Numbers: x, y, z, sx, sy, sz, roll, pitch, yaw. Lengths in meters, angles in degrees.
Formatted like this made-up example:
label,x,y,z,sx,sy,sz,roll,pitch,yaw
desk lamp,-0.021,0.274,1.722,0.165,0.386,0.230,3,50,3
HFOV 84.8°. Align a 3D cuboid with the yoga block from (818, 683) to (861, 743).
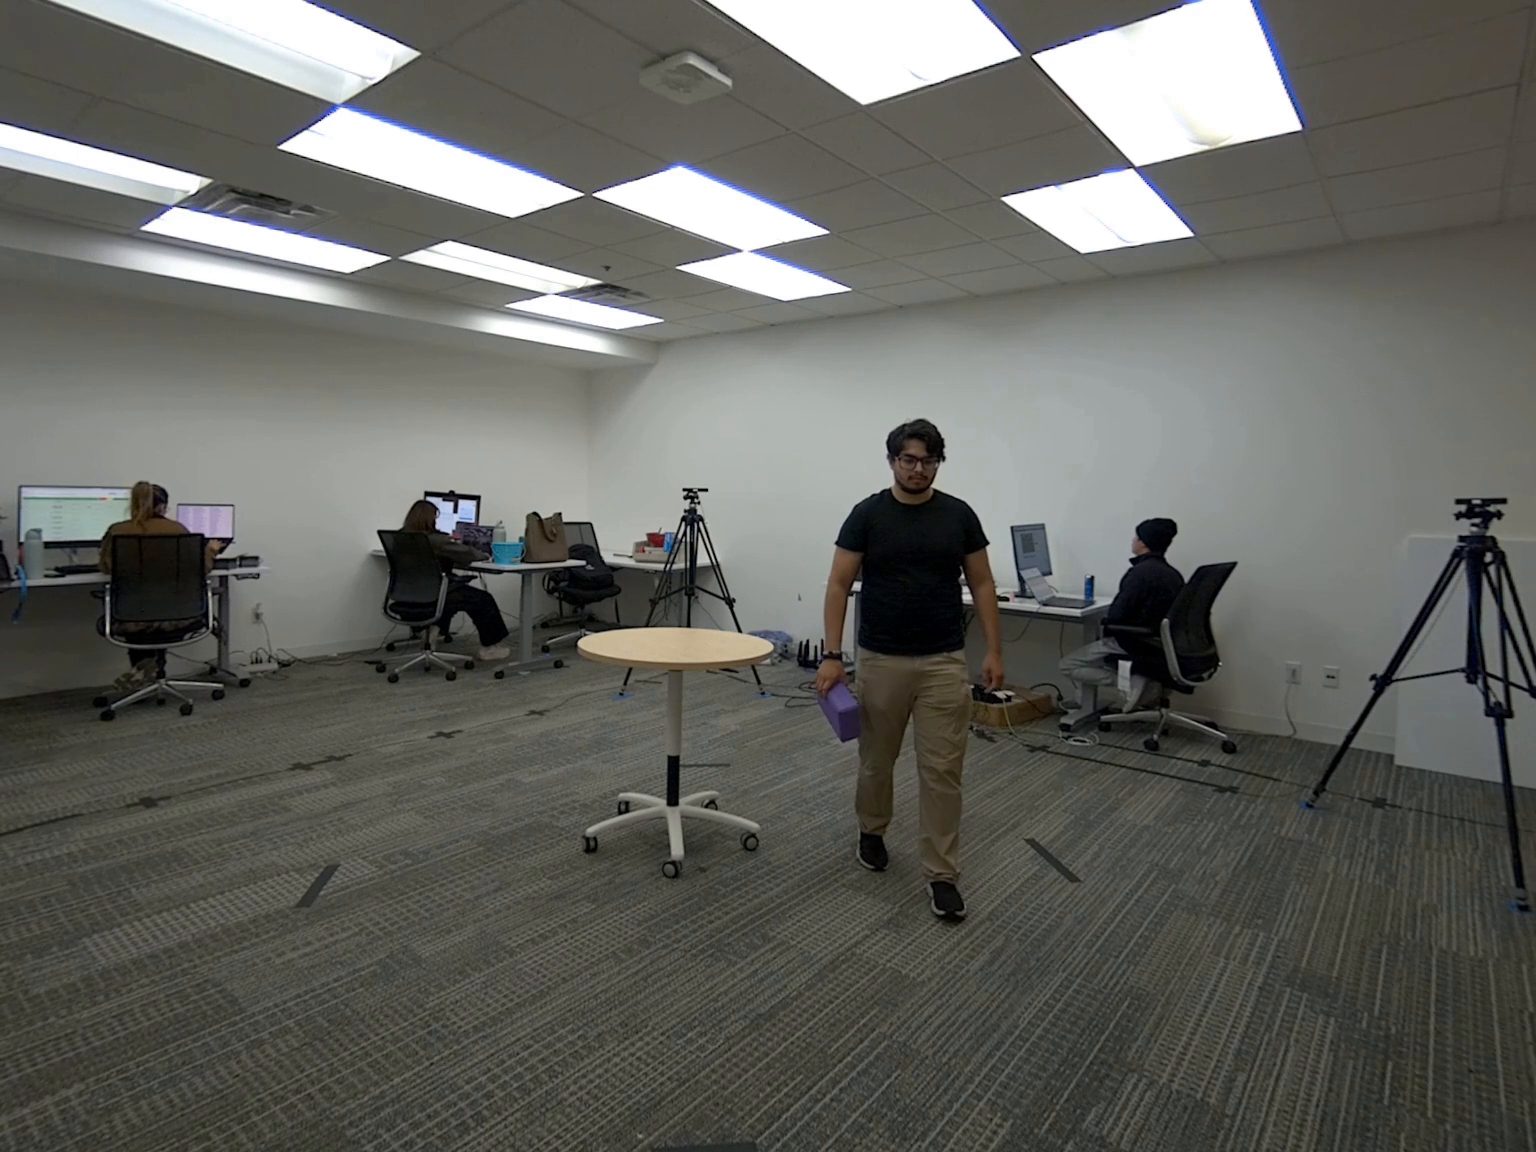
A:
label,x,y,z,sx,sy,sz,roll,pitch,yaw
yoga block,0.245,0.449,2.961,0.076,0.145,0.237,-12,30,-8
